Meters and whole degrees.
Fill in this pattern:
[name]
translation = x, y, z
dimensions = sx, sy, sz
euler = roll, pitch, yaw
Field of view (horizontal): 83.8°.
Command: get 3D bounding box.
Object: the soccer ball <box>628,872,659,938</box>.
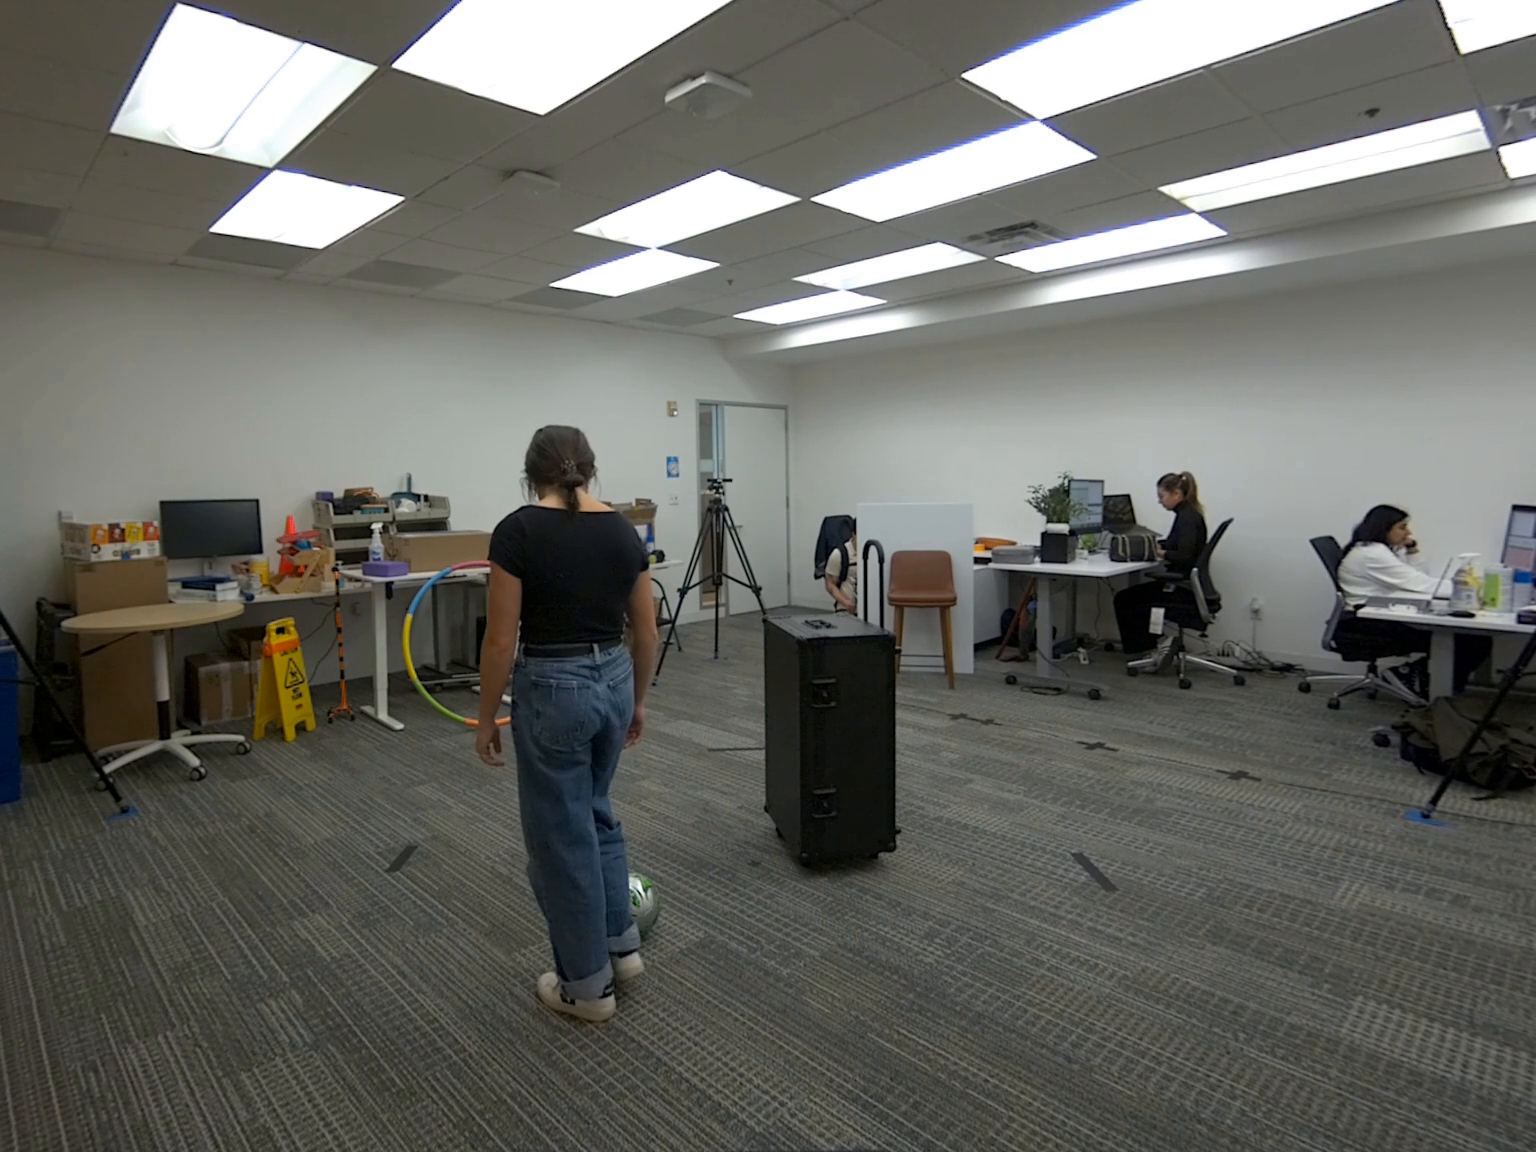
[soccer ball]
translation = -0.417, 1.017, 2.636
dimensions = 0.187, 0.187, 0.188
euler = -1, 5, -2
